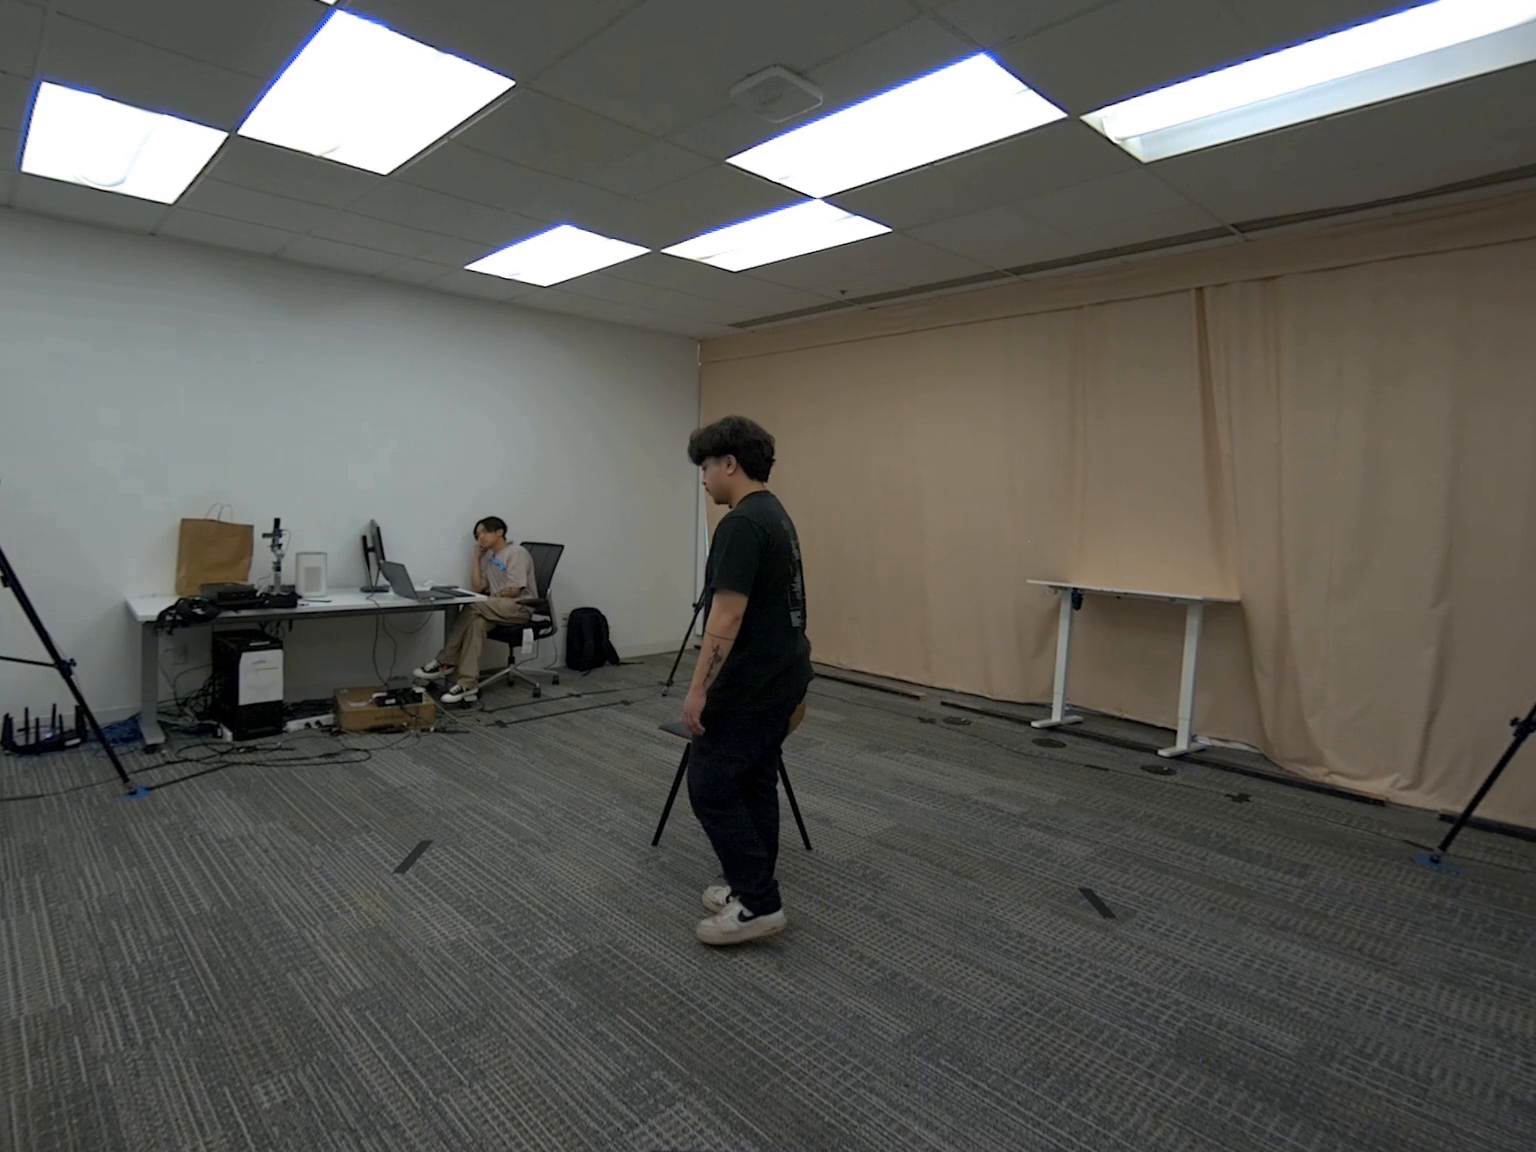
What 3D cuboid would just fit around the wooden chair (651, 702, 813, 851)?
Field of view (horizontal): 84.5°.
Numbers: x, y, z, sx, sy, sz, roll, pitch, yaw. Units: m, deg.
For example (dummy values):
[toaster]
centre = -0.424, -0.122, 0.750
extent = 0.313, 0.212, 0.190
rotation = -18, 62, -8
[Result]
[wooden chair]
centre = -0.141, 0.664, 3.335
extent = 0.537, 0.873, 0.467
rotation = 11, 9, 43
